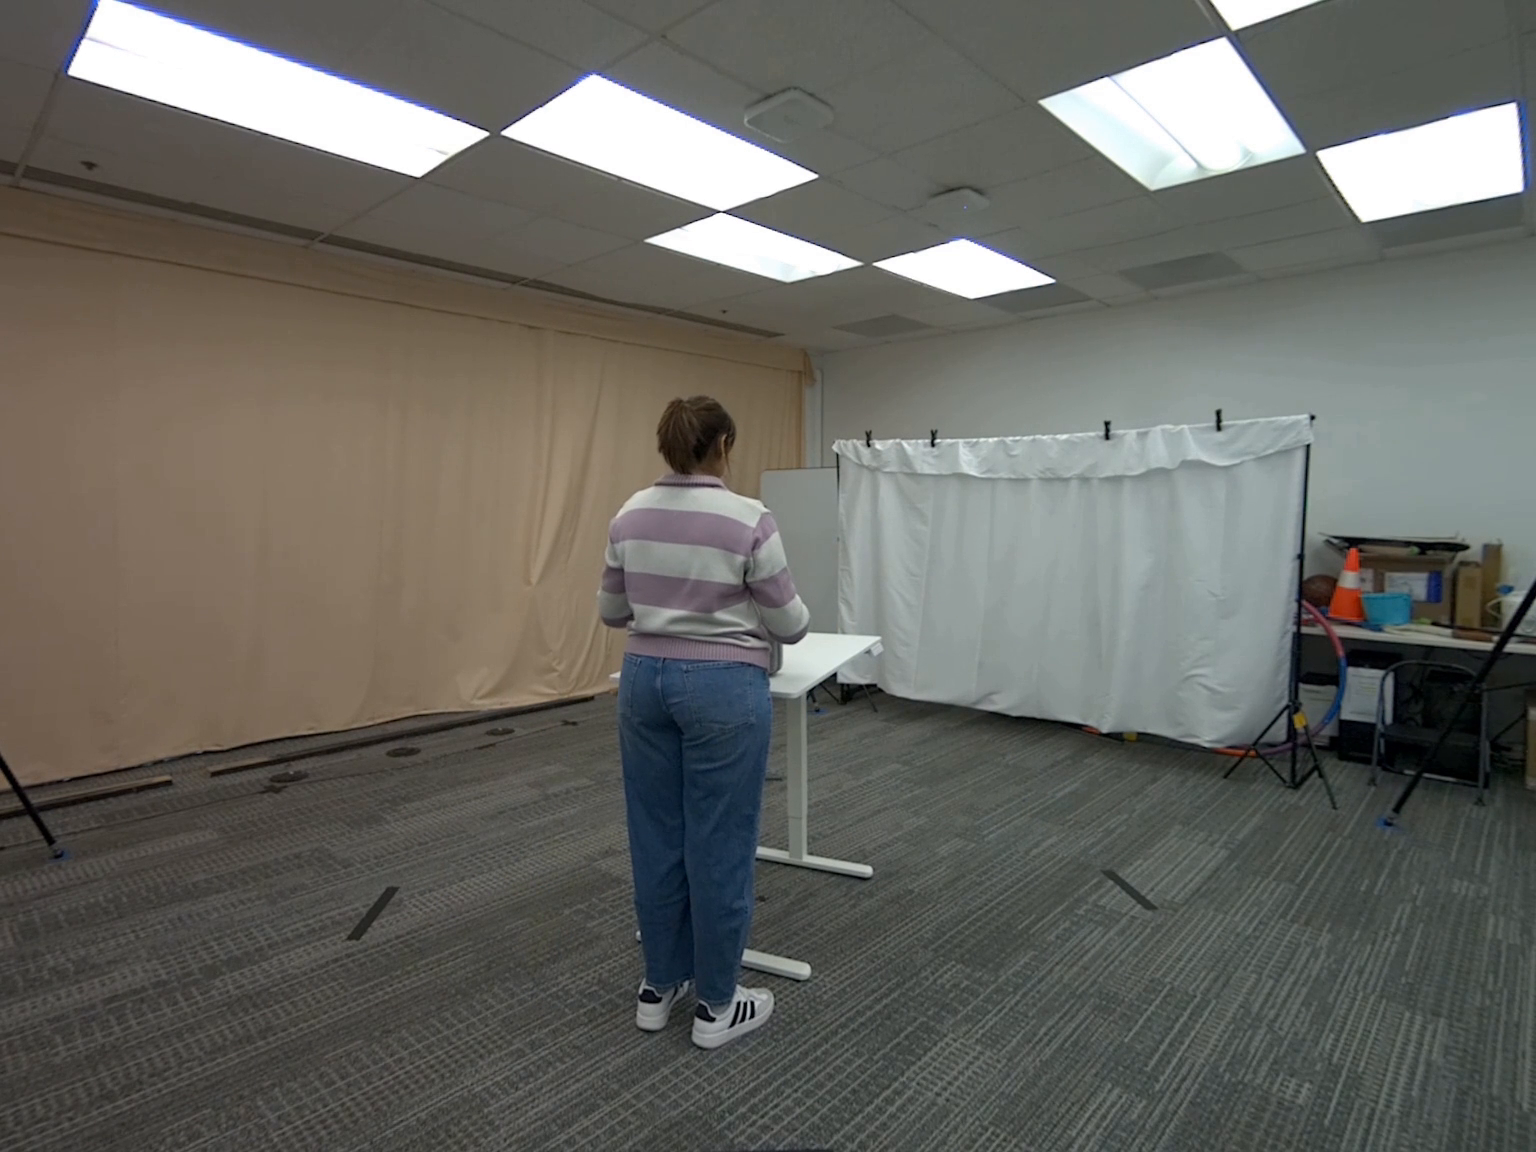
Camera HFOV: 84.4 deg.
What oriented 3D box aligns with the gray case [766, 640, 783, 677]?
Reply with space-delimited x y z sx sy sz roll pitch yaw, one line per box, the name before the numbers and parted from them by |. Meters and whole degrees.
gray case | -0.083 0.170 2.574 0.261 0.261 0.102 -3 -1 15
